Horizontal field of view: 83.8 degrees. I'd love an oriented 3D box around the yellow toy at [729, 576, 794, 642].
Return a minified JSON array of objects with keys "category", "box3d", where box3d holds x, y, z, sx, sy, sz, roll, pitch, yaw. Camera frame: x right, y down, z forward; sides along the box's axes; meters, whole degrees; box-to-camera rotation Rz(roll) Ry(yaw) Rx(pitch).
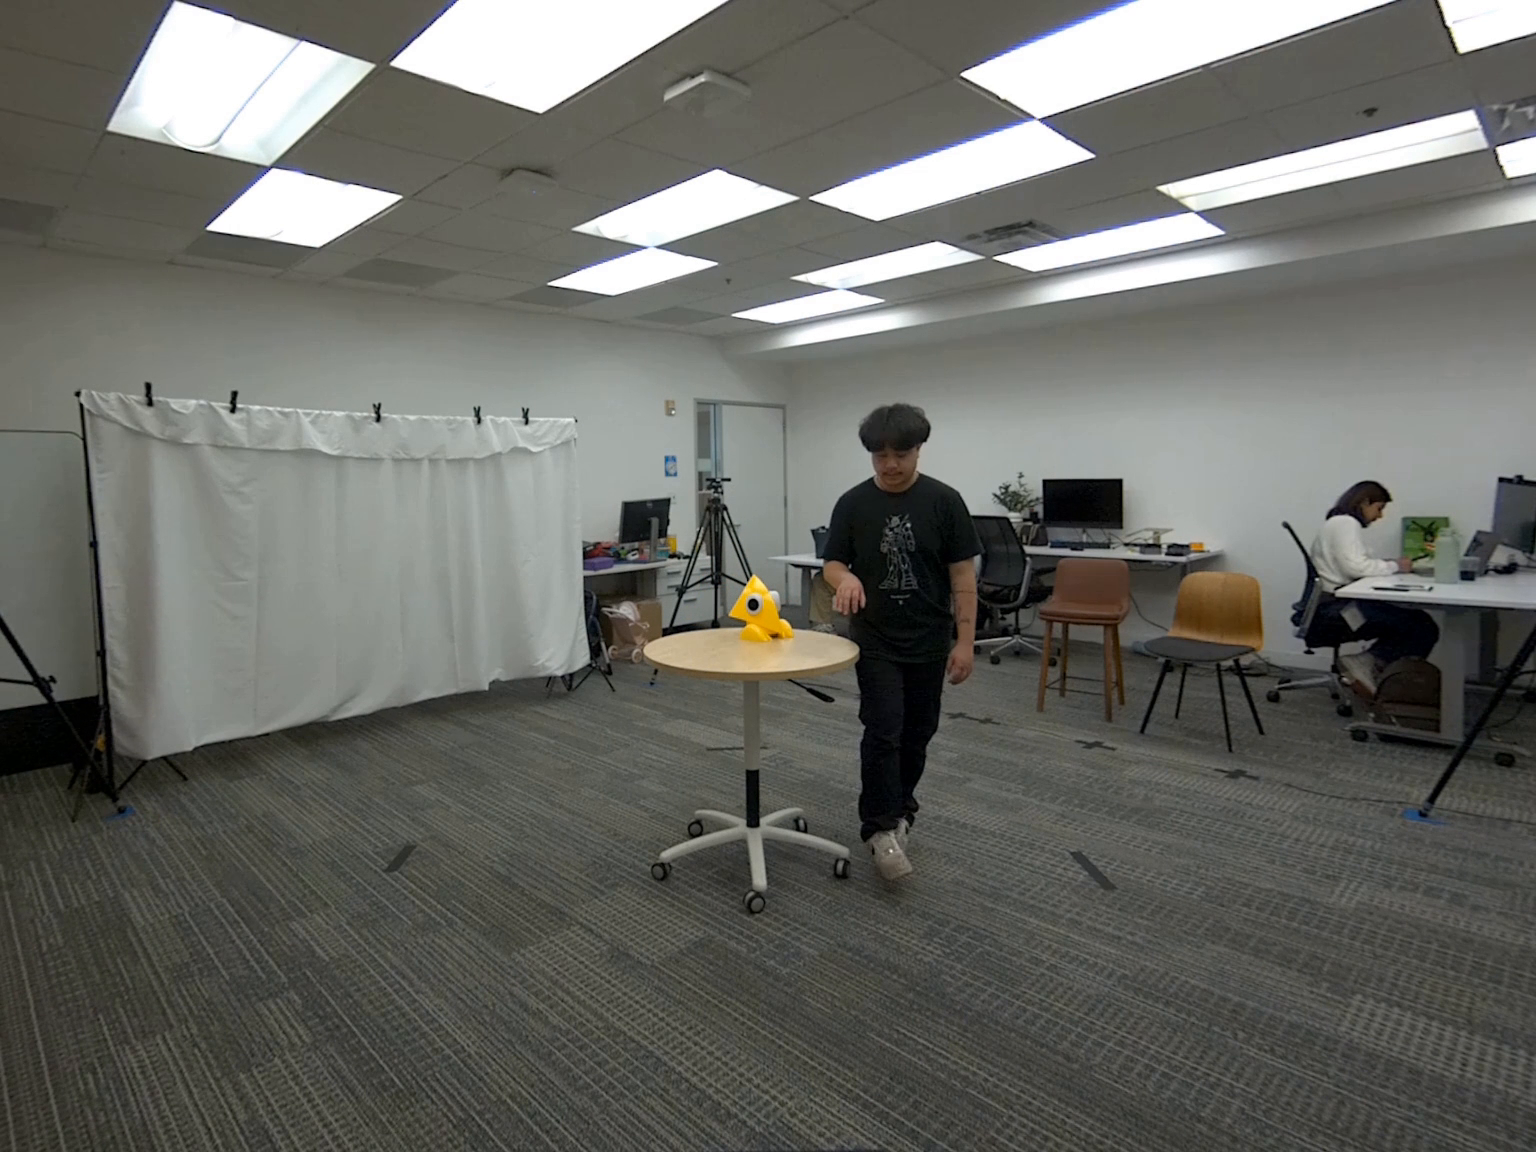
[{"category":"yellow toy","box3d":[-0.010,0.113,3.248,0.199,0.230,0.199,-4,6,-39]}]
